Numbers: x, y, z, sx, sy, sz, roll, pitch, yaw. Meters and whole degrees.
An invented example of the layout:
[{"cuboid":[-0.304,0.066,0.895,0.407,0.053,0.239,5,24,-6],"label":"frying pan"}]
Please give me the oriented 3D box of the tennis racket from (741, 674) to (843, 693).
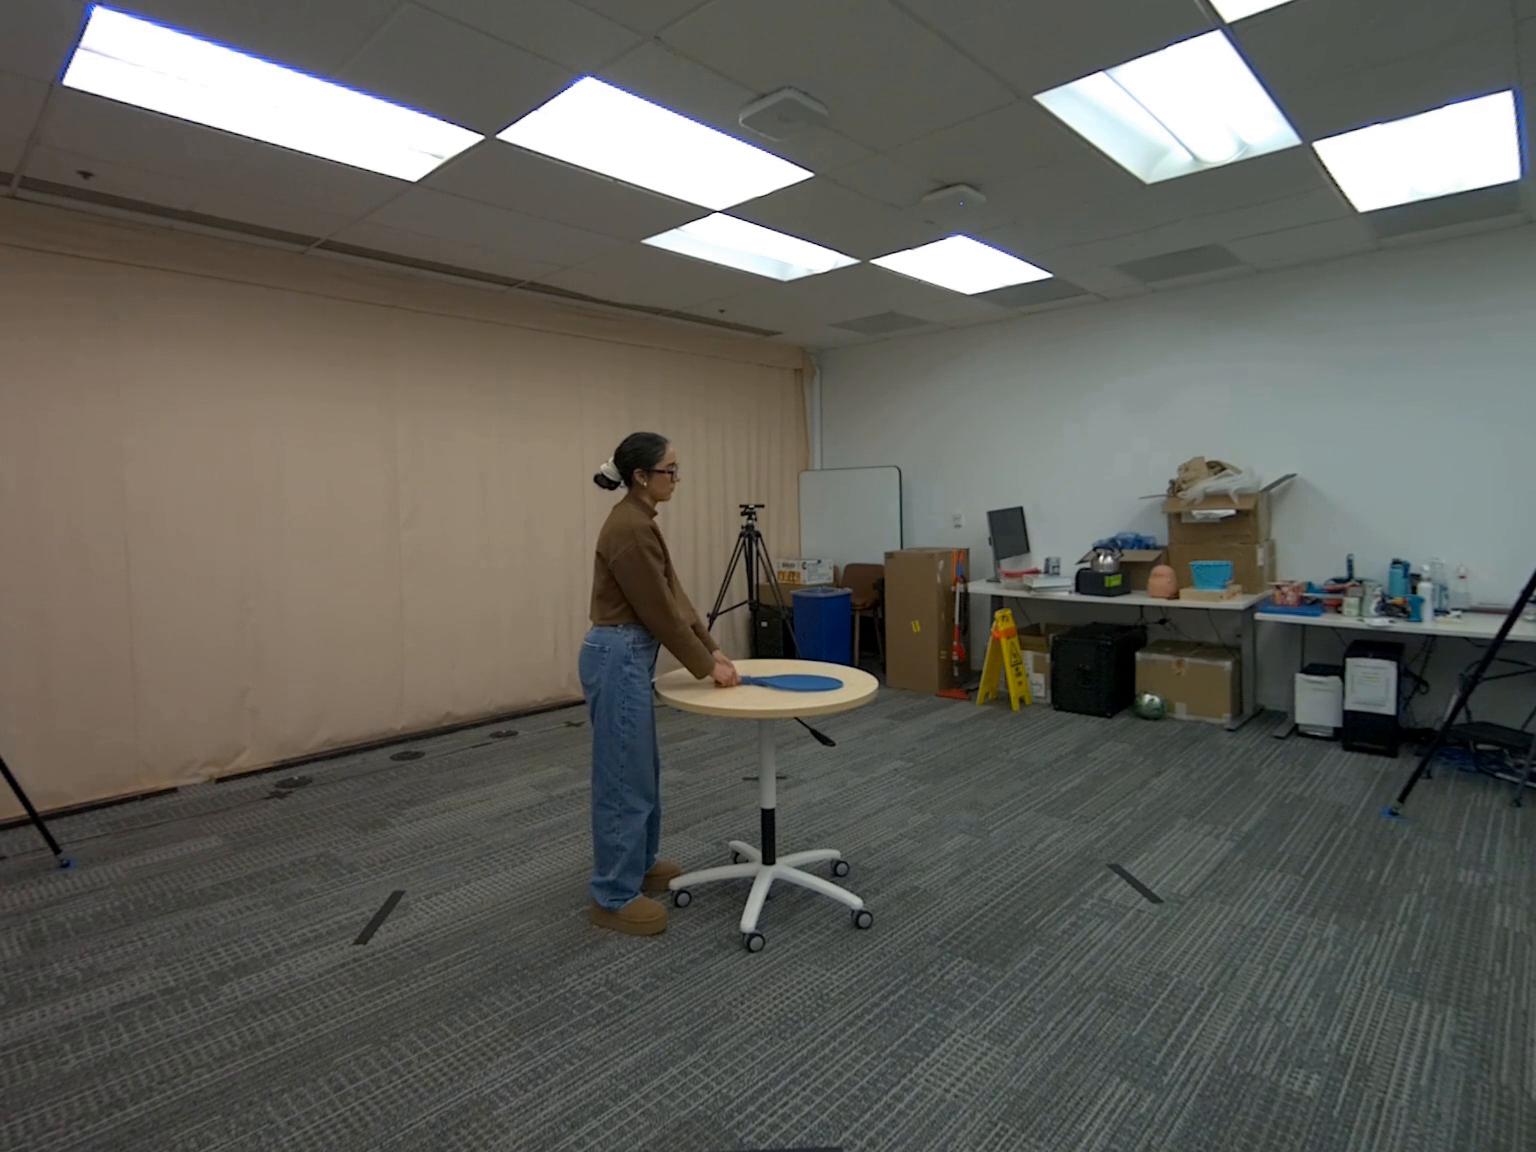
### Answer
[{"cuboid":[0.043,0.369,2.795,0.441,0.031,0.210,3,5,17],"label":"tennis racket"}]
